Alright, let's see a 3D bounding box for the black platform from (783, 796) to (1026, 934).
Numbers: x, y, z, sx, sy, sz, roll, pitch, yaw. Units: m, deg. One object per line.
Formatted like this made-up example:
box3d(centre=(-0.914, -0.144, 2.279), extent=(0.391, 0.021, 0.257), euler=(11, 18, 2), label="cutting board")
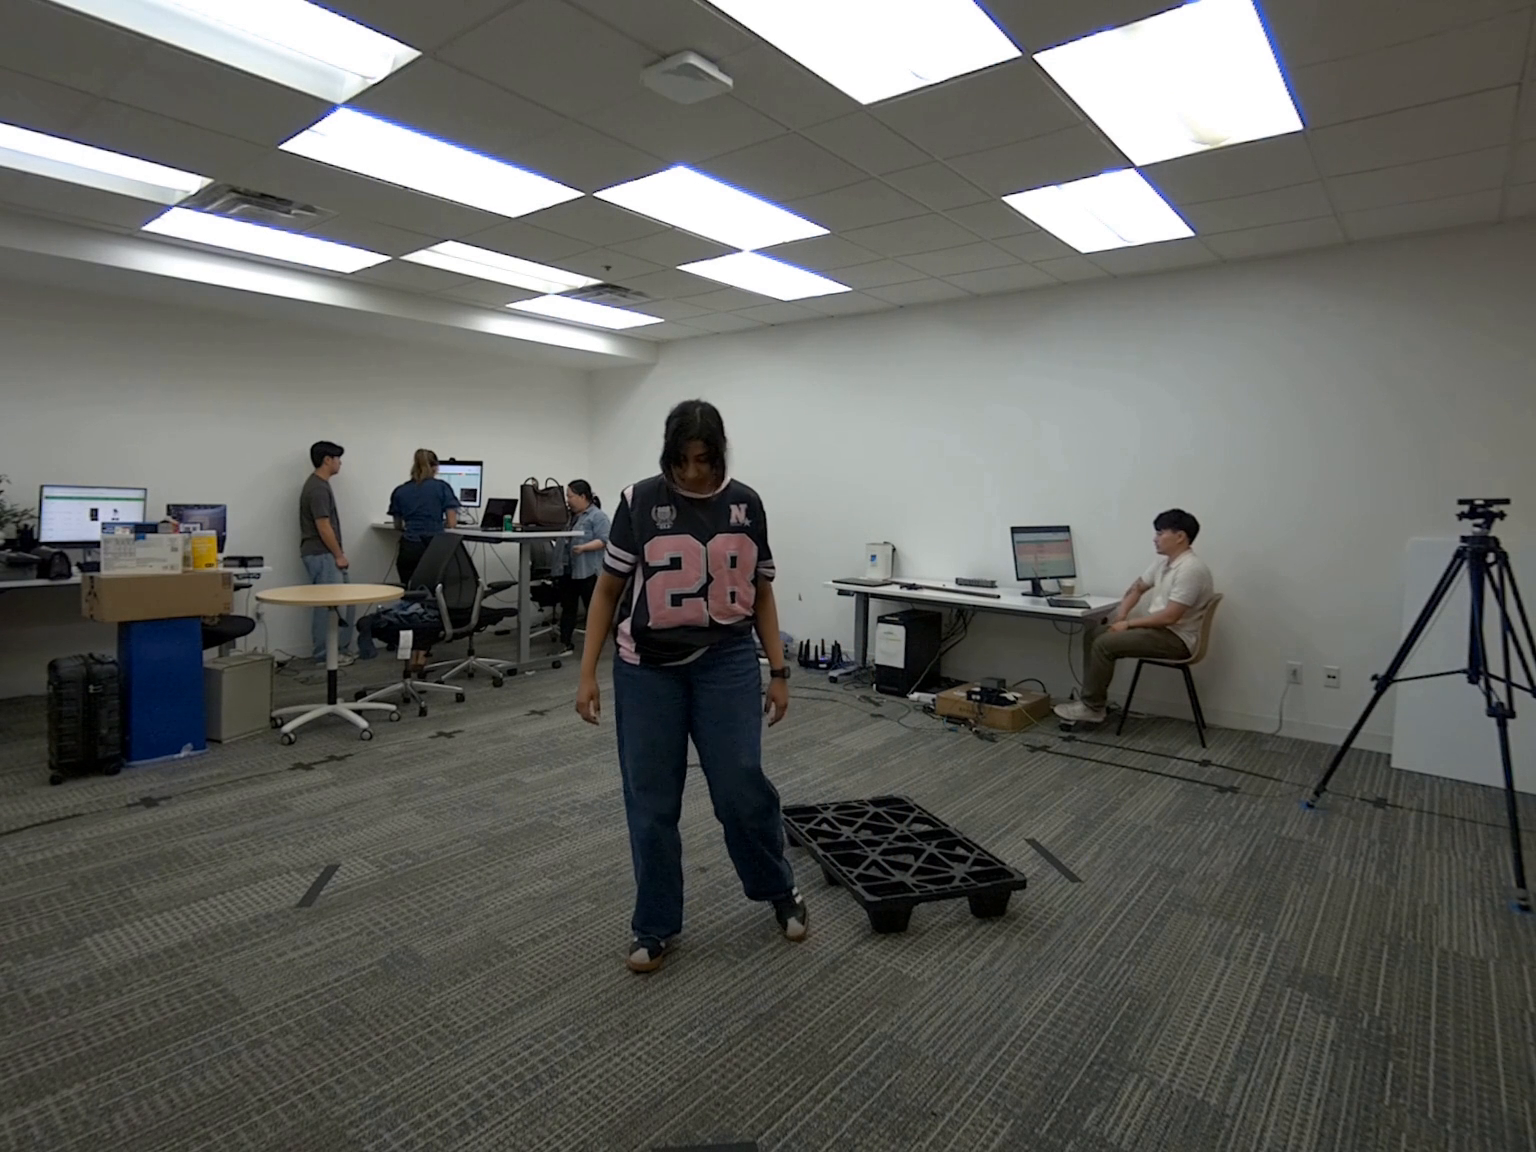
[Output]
box3d(centre=(0.428, 1.019, 3.086), extent=(0.593, 0.143, 0.825), euler=(-2, 6, -21), label="black platform")
